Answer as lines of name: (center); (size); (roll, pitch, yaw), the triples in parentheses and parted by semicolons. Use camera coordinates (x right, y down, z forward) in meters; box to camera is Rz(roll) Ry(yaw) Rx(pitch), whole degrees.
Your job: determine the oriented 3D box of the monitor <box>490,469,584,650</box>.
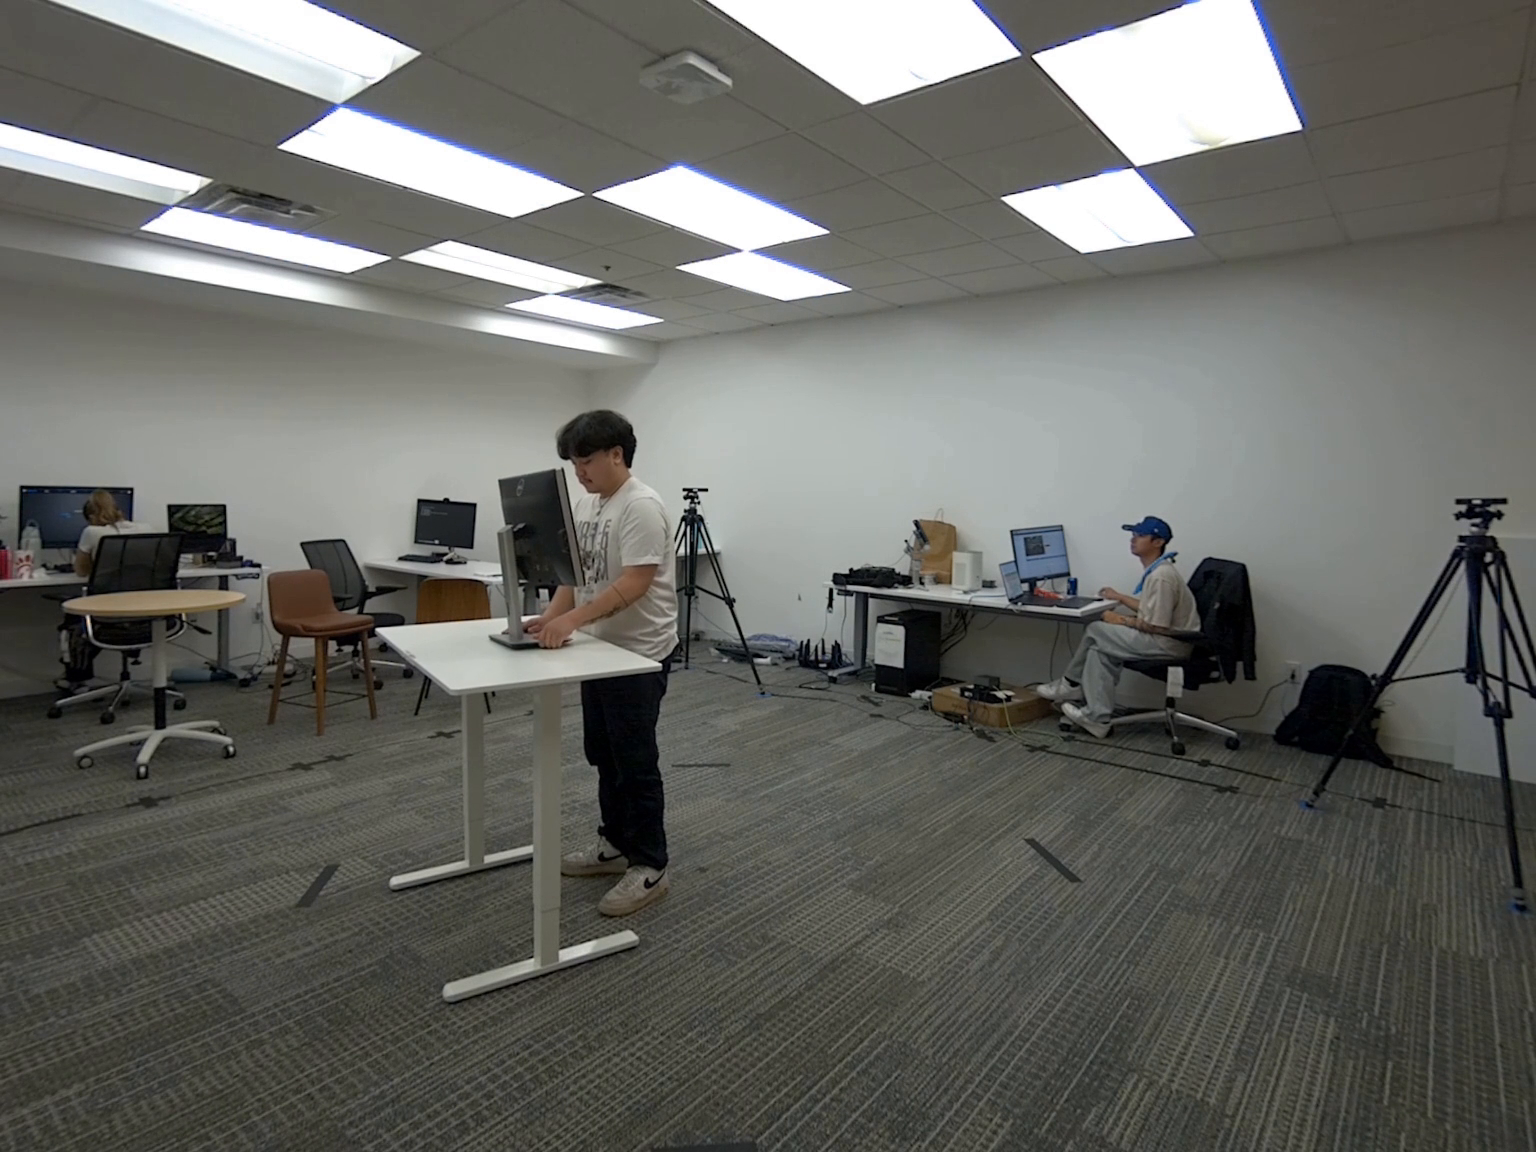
monitor: (-0.797, -0.059, 2.729); (0.204, 0.552, 0.583); (-6, 5, -35)
